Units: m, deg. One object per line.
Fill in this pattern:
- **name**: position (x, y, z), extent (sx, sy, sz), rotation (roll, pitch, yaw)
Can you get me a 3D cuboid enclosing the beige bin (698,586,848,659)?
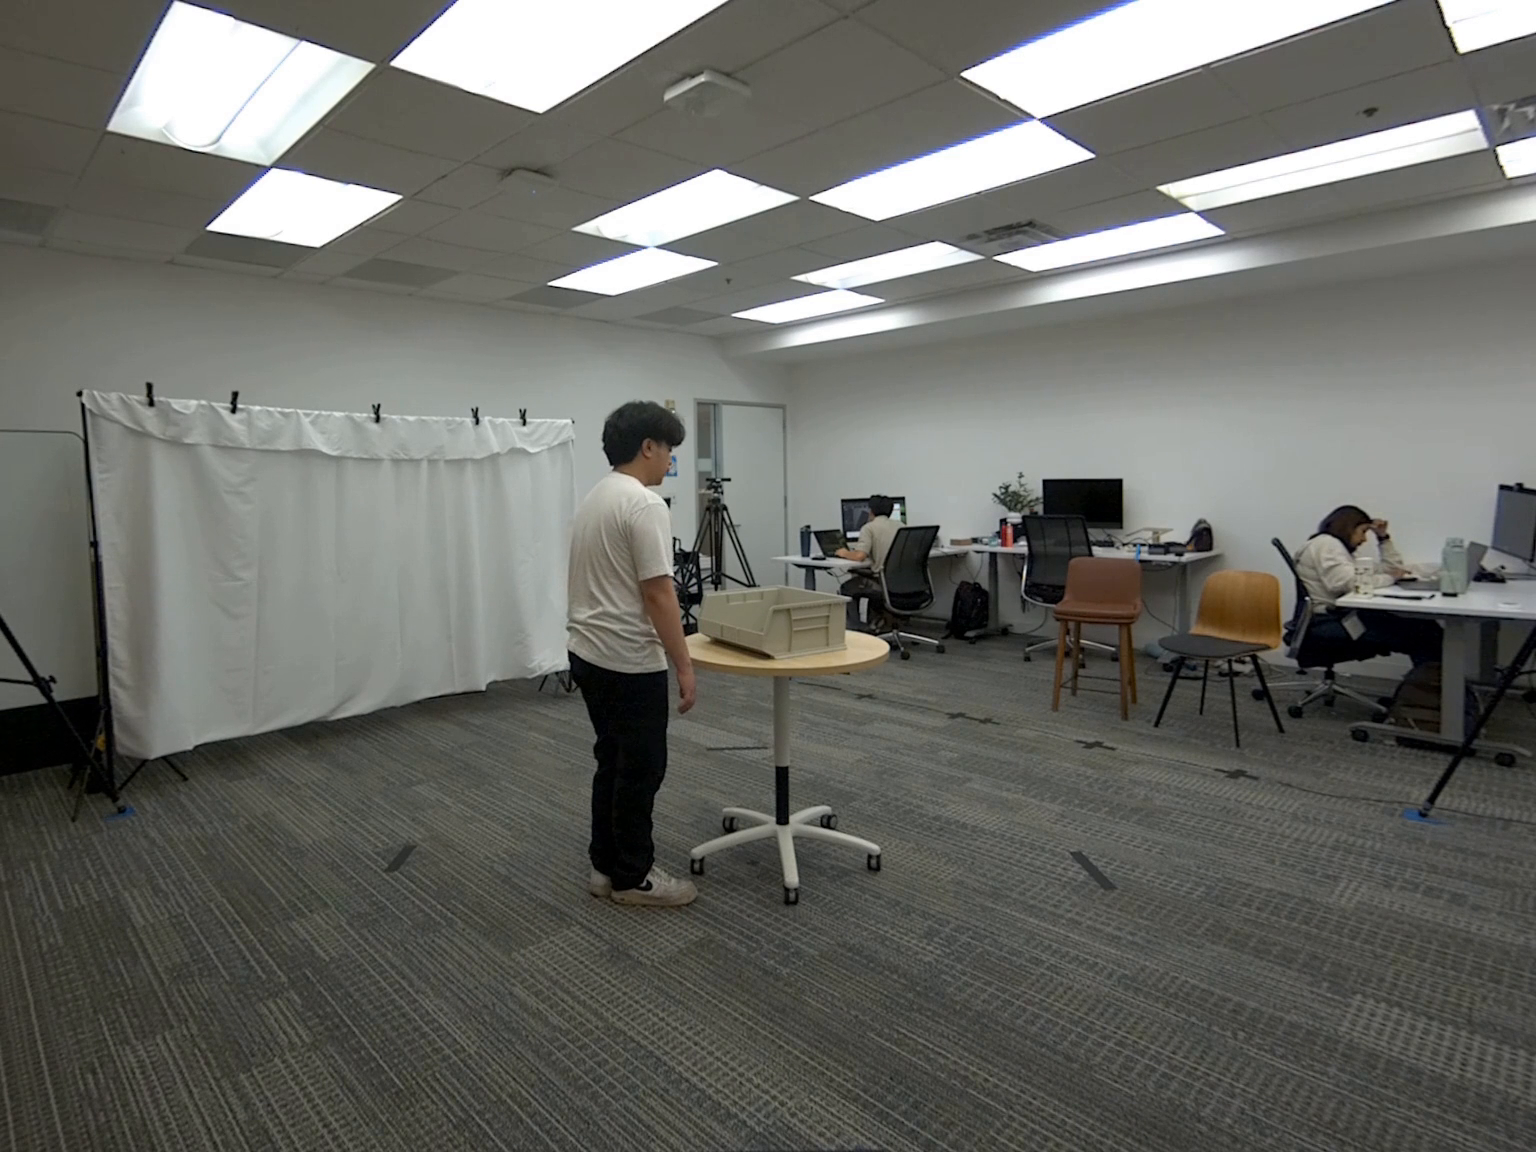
- **beige bin**: position (0.013, 0.155, 3.048), extent (0.368, 0.188, 0.434), rotation (-4, 5, -35)
